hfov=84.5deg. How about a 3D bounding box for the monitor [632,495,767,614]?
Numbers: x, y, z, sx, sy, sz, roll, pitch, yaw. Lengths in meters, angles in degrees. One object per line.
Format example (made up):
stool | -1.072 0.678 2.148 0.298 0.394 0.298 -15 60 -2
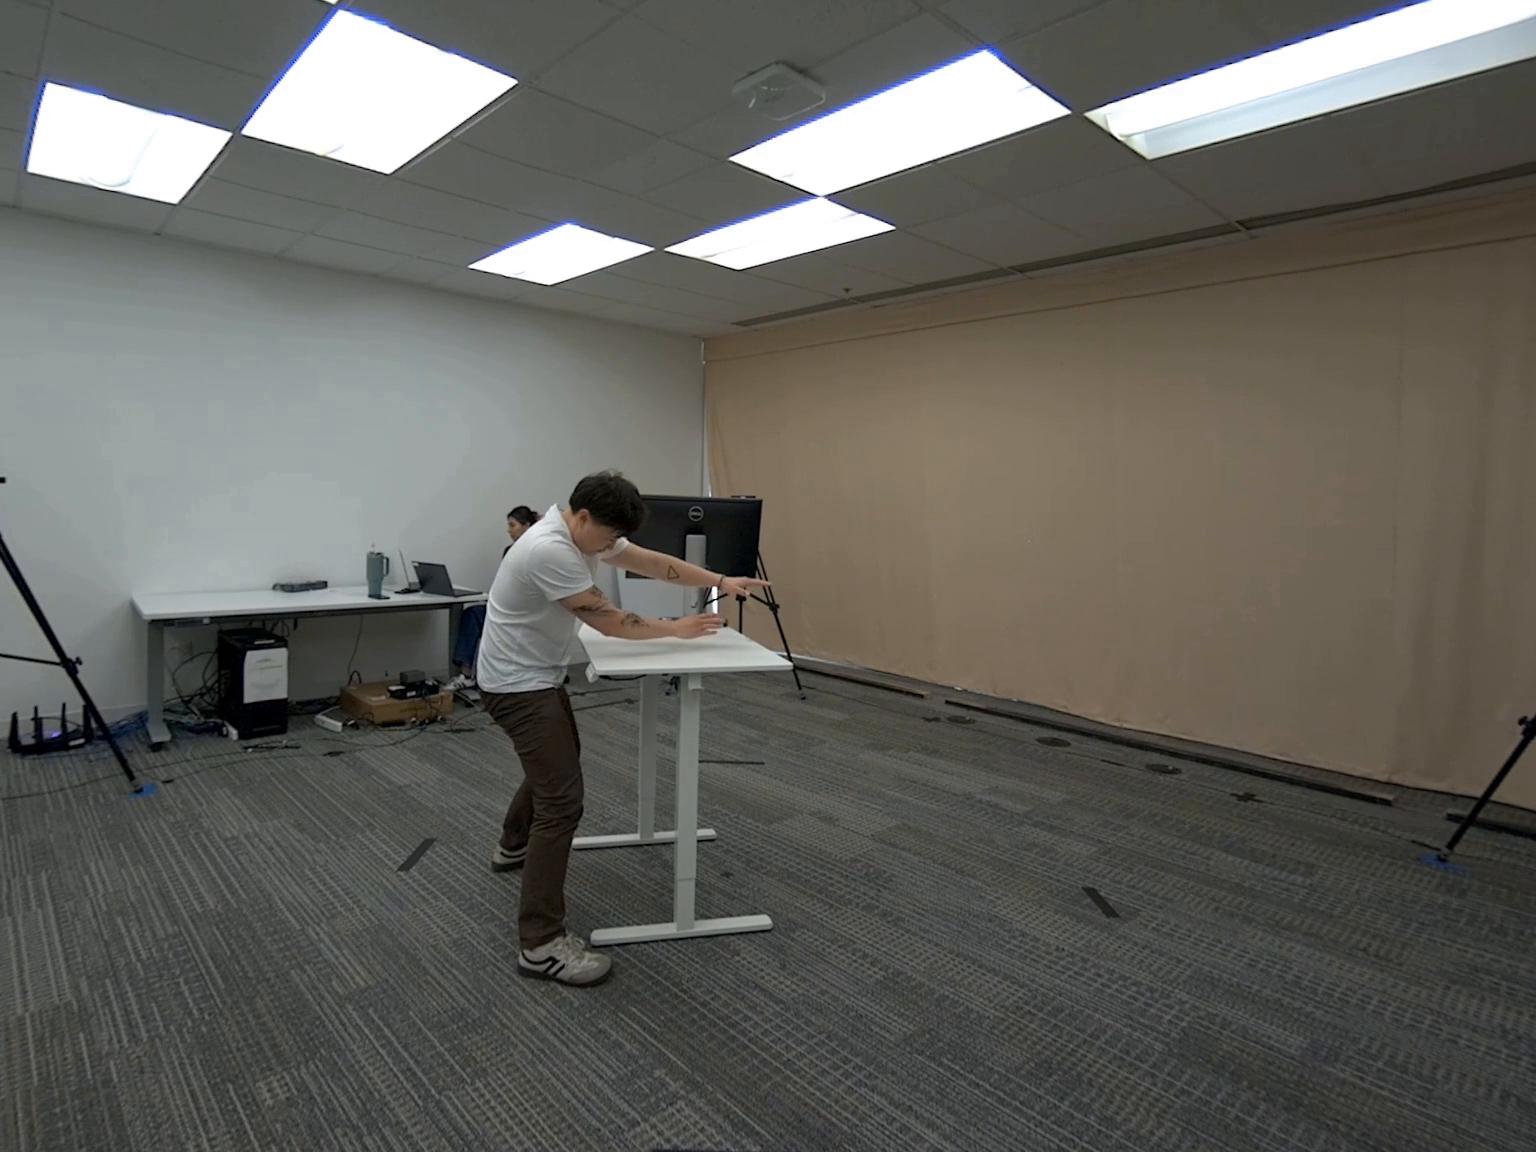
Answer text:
monitor | -0.298 -0.056 3.361 0.534 0.521 0.189 1 4 -12
